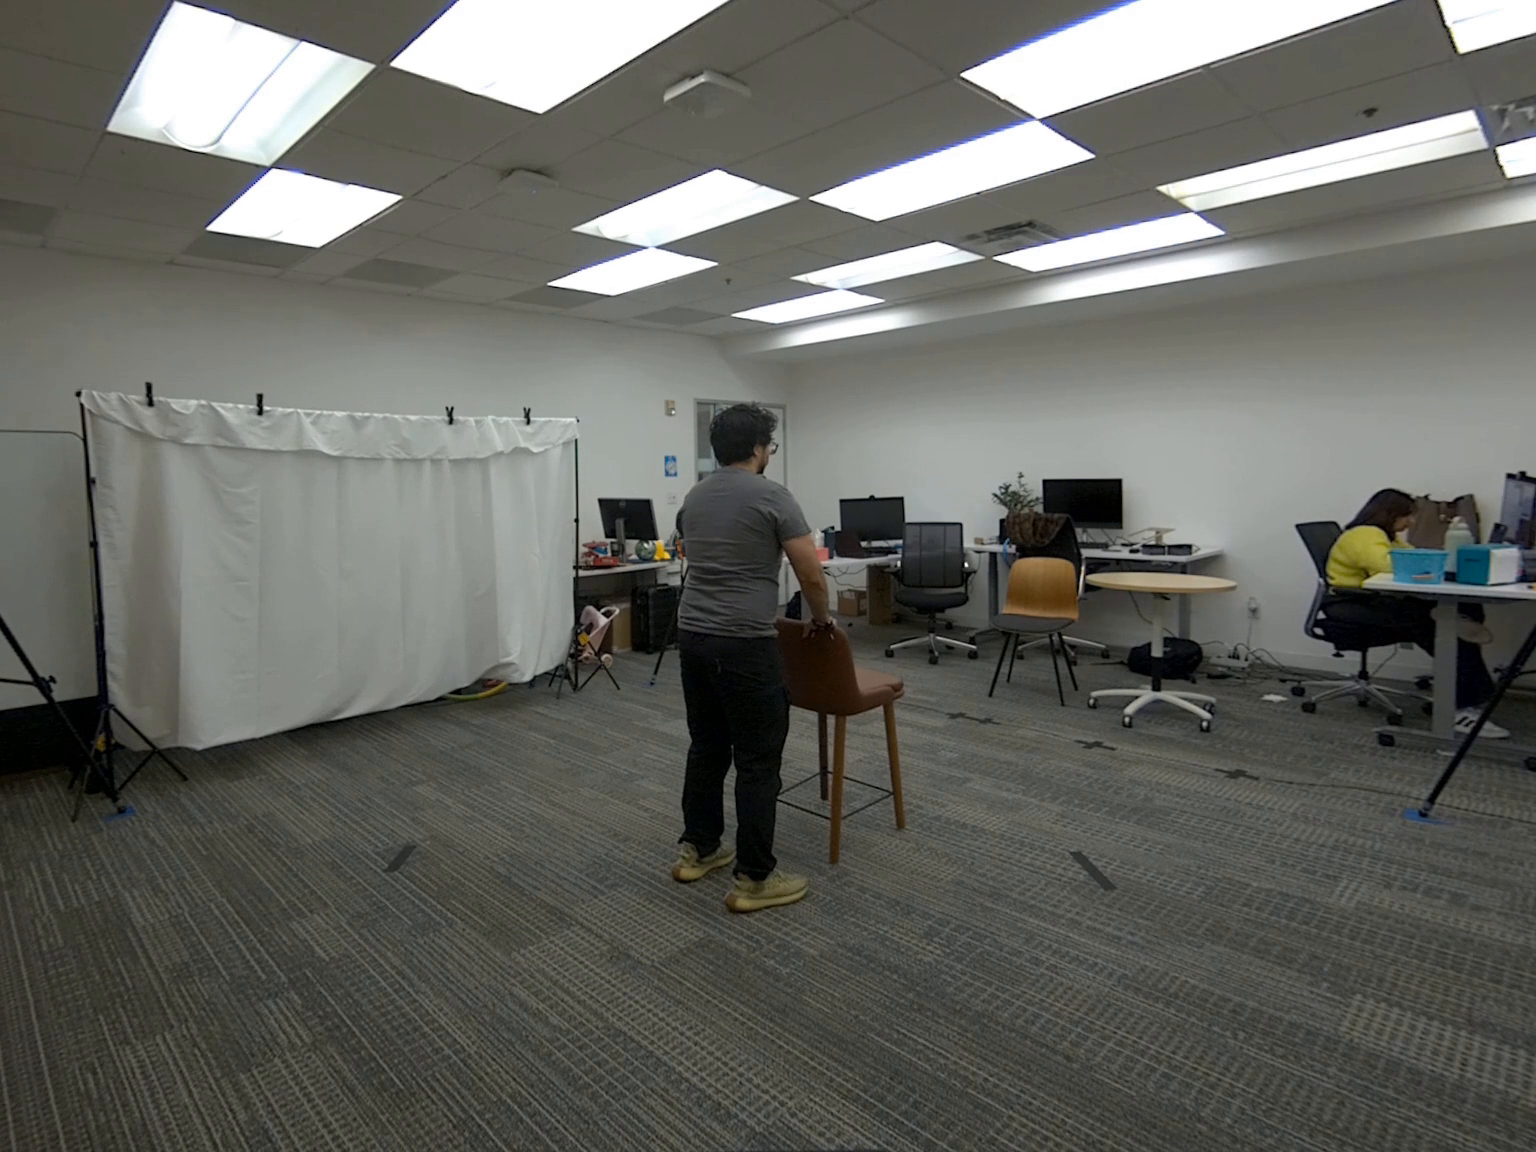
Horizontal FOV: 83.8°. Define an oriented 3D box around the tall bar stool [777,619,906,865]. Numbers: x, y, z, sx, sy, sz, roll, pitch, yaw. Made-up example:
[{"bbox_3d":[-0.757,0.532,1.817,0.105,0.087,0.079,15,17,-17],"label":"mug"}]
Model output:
[{"bbox_3d":[0.241,0.567,3.321,0.471,0.884,0.456,6,10,43],"label":"tall bar stool"}]
